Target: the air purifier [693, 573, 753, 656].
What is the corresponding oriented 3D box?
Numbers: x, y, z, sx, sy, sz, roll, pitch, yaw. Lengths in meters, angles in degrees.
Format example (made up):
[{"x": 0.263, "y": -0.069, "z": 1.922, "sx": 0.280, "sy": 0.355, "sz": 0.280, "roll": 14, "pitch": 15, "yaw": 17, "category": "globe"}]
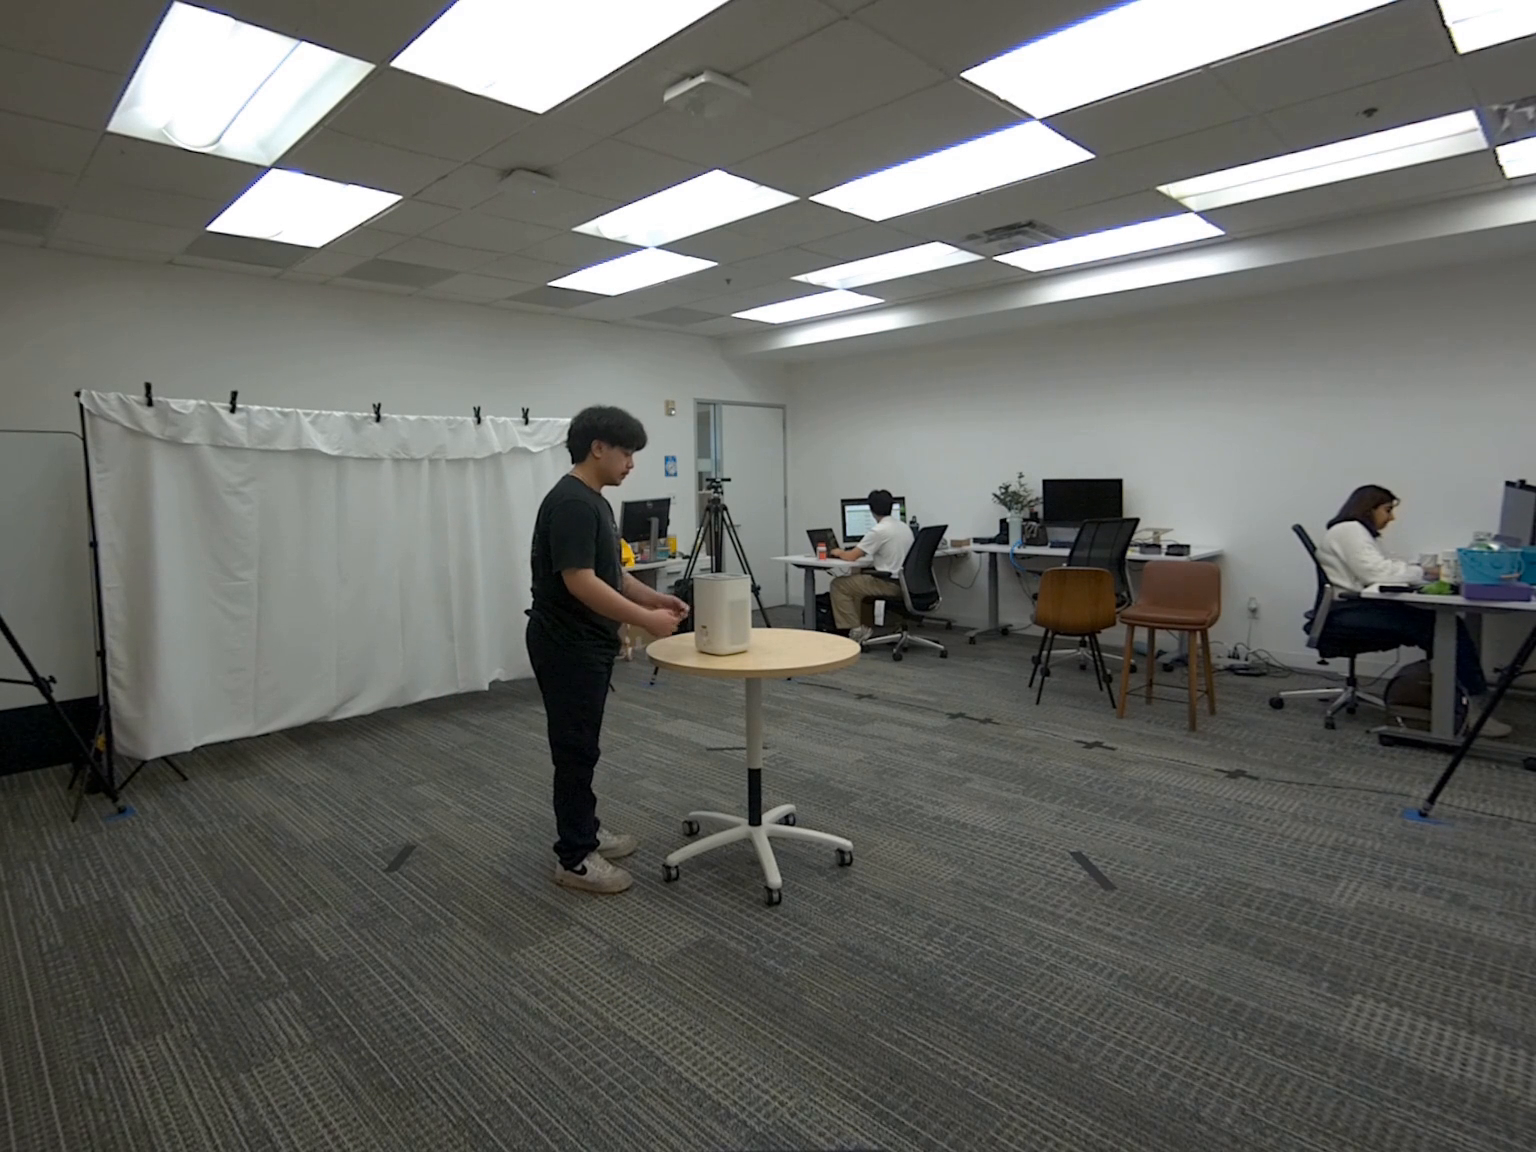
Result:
[{"x": -0.157, "y": 0.124, "z": 2.978, "sx": 0.167, "sy": 0.264, "sz": 0.176, "roll": -4, "pitch": 6, "yaw": -44, "category": "air purifier"}]
